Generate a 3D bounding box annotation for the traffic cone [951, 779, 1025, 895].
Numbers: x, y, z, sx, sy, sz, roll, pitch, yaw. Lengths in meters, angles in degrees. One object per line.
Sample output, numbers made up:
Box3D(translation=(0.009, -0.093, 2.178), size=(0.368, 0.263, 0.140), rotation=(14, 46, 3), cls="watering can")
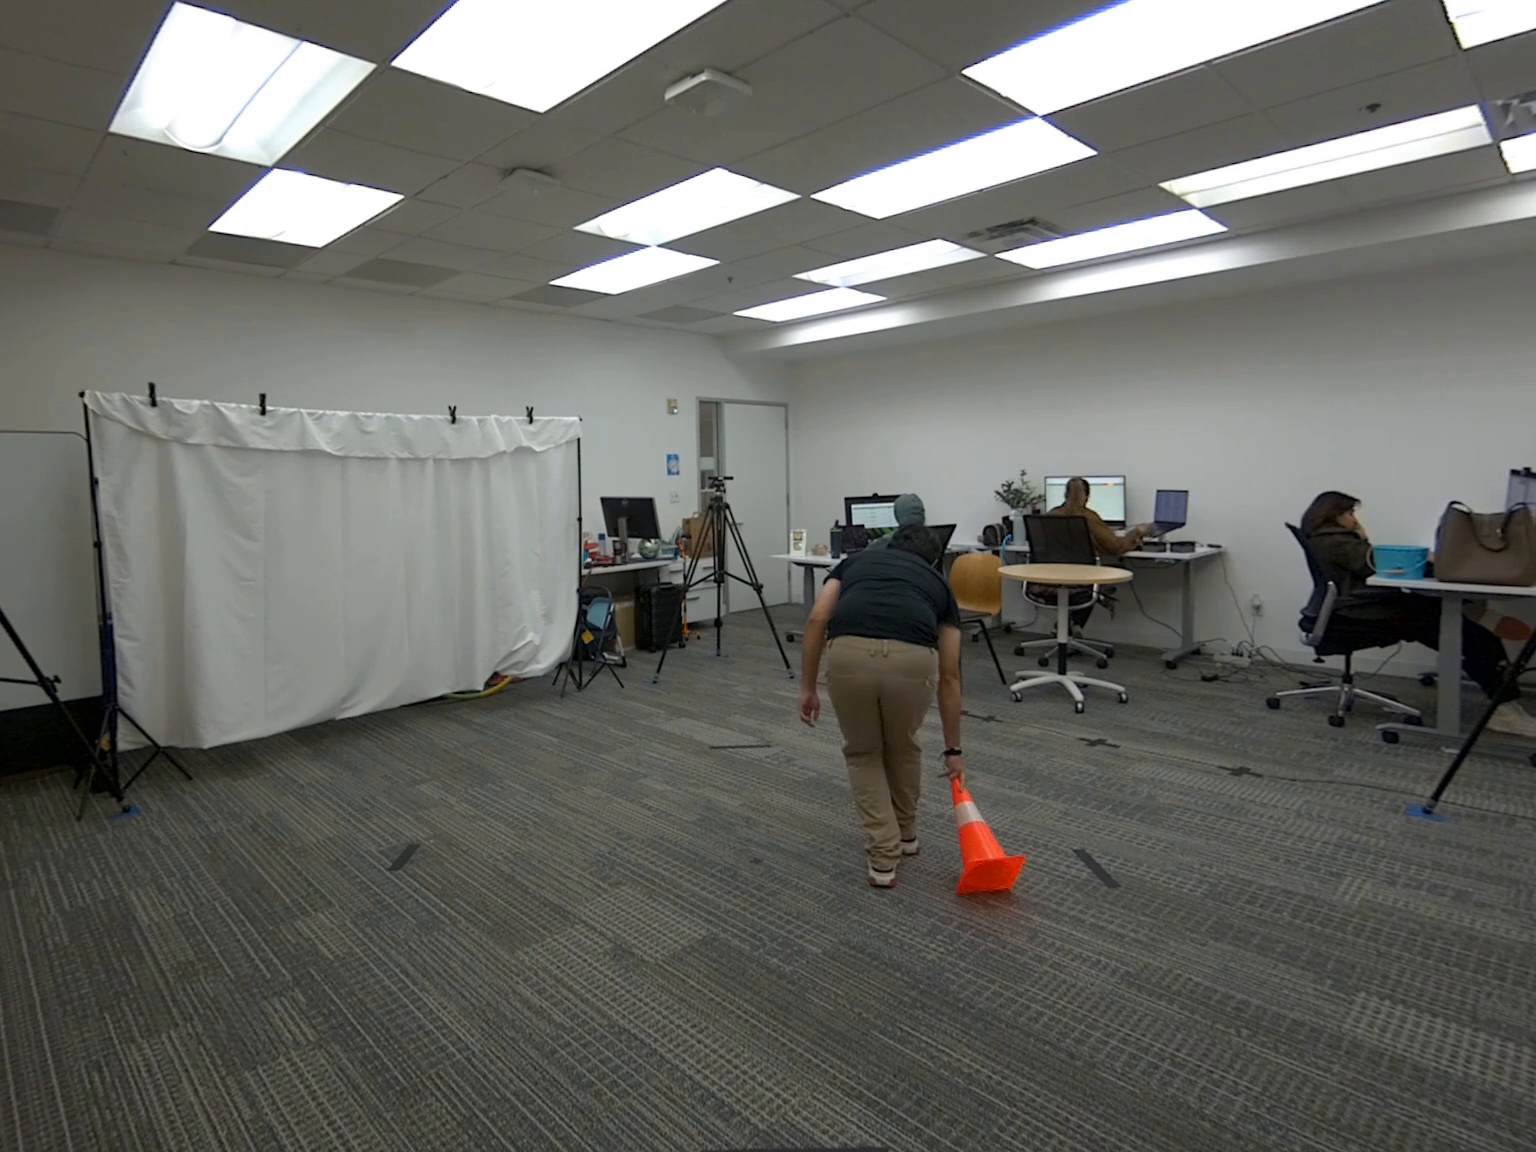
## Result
Box3D(translation=(0.705, 0.855, 2.927), size=(0.202, 0.200, 0.396), rotation=(-2, 40, -8), cls="traffic cone")
